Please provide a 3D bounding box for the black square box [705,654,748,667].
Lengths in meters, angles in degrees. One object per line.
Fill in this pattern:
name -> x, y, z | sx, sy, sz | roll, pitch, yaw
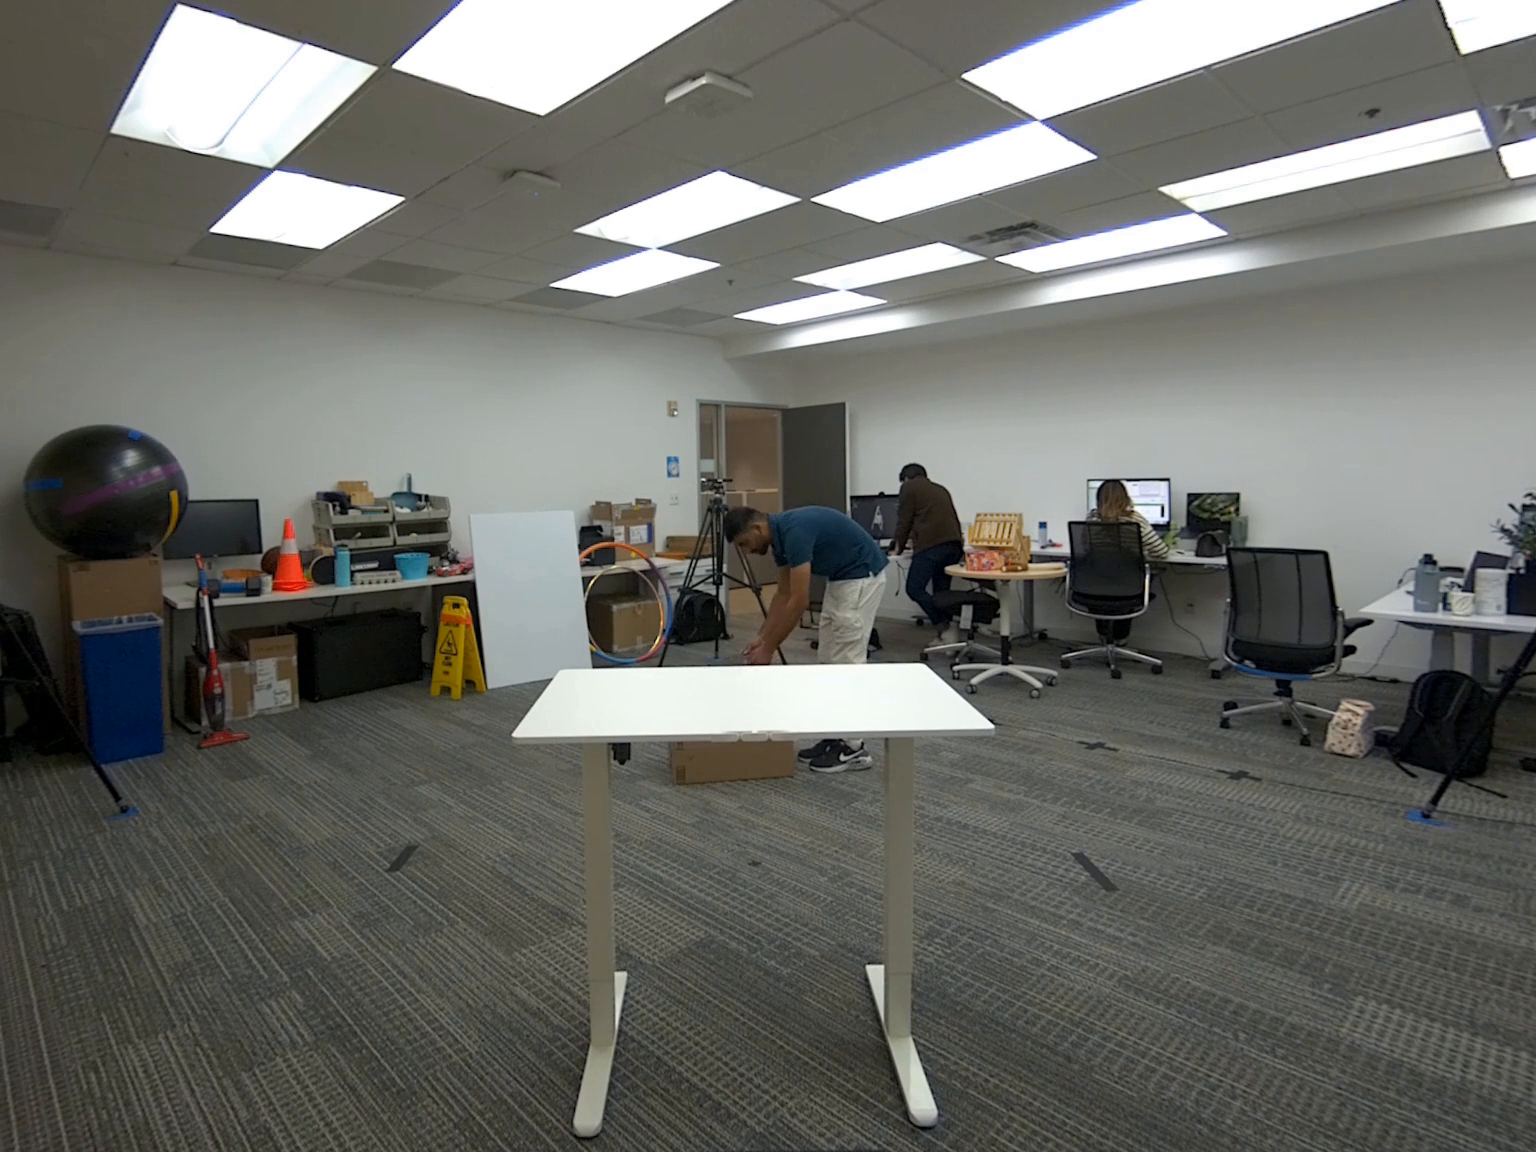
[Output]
black square box -> -0.169, 0.482, 4.137 | 0.216, 0.155, 0.231 | -11, 9, -8
